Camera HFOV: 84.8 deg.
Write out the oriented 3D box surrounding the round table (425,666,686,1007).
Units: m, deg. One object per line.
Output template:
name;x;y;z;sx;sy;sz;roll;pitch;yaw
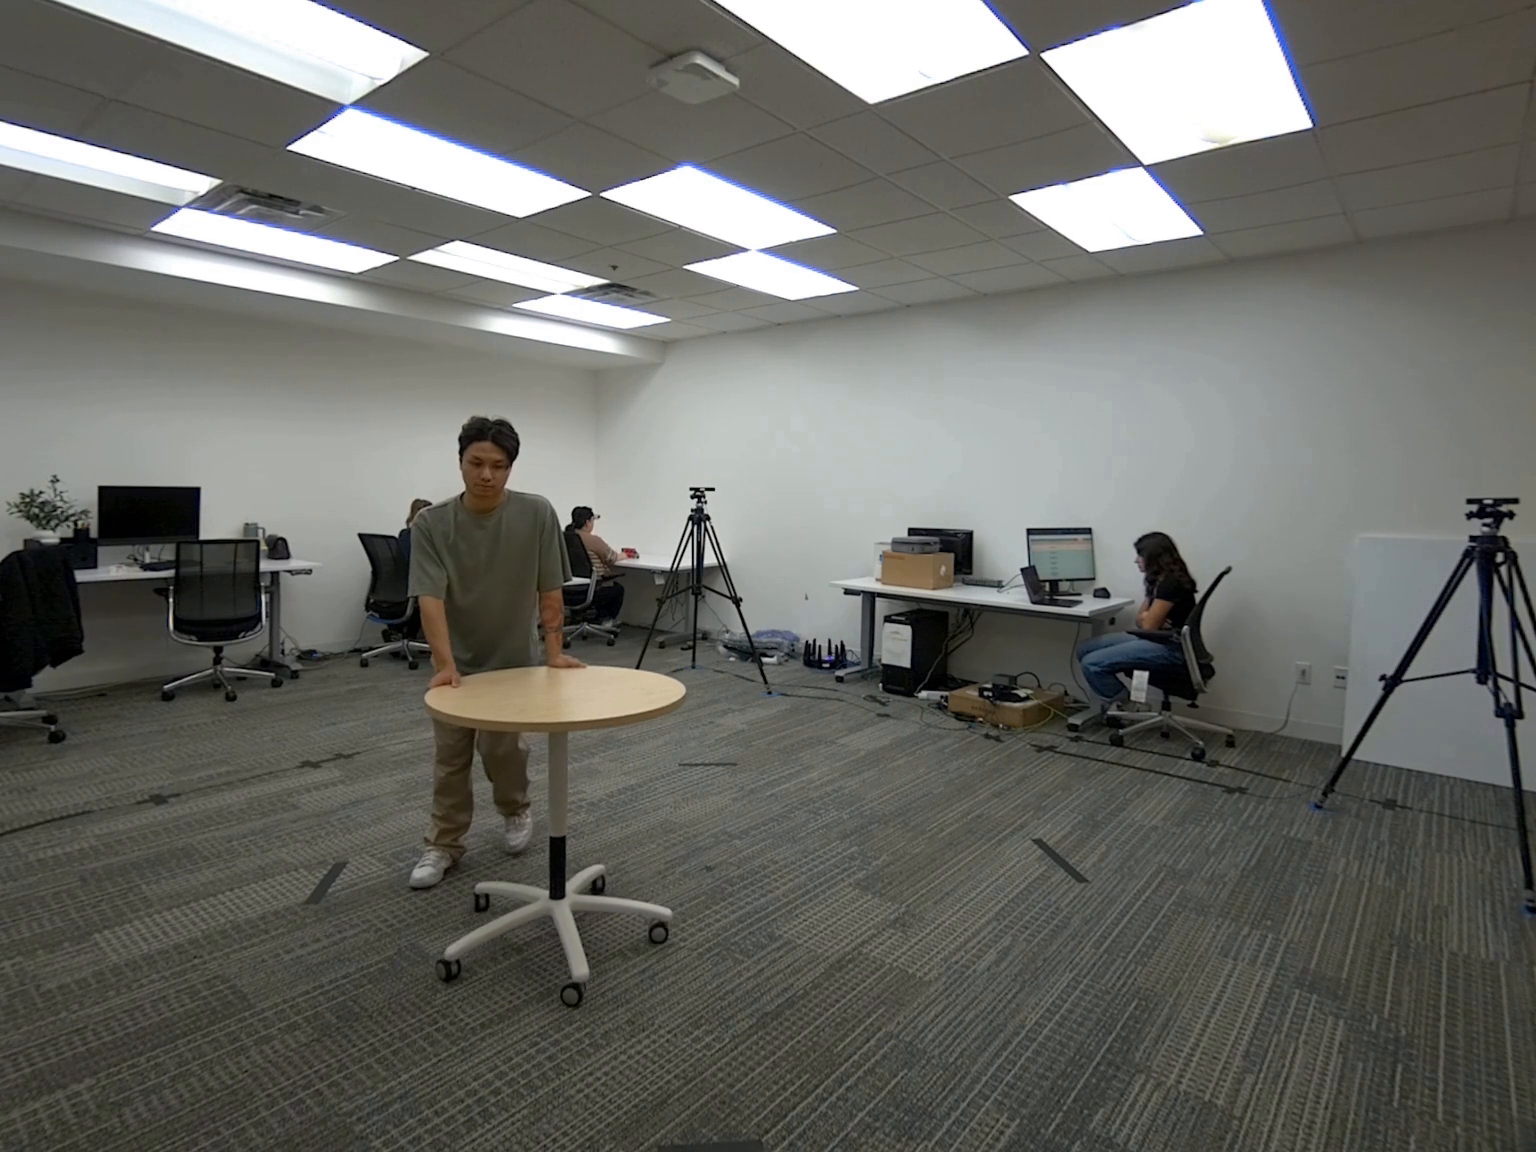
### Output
round table;-0.642;0.727;2.560;0.784;0.785;0.788;1;3;-2
